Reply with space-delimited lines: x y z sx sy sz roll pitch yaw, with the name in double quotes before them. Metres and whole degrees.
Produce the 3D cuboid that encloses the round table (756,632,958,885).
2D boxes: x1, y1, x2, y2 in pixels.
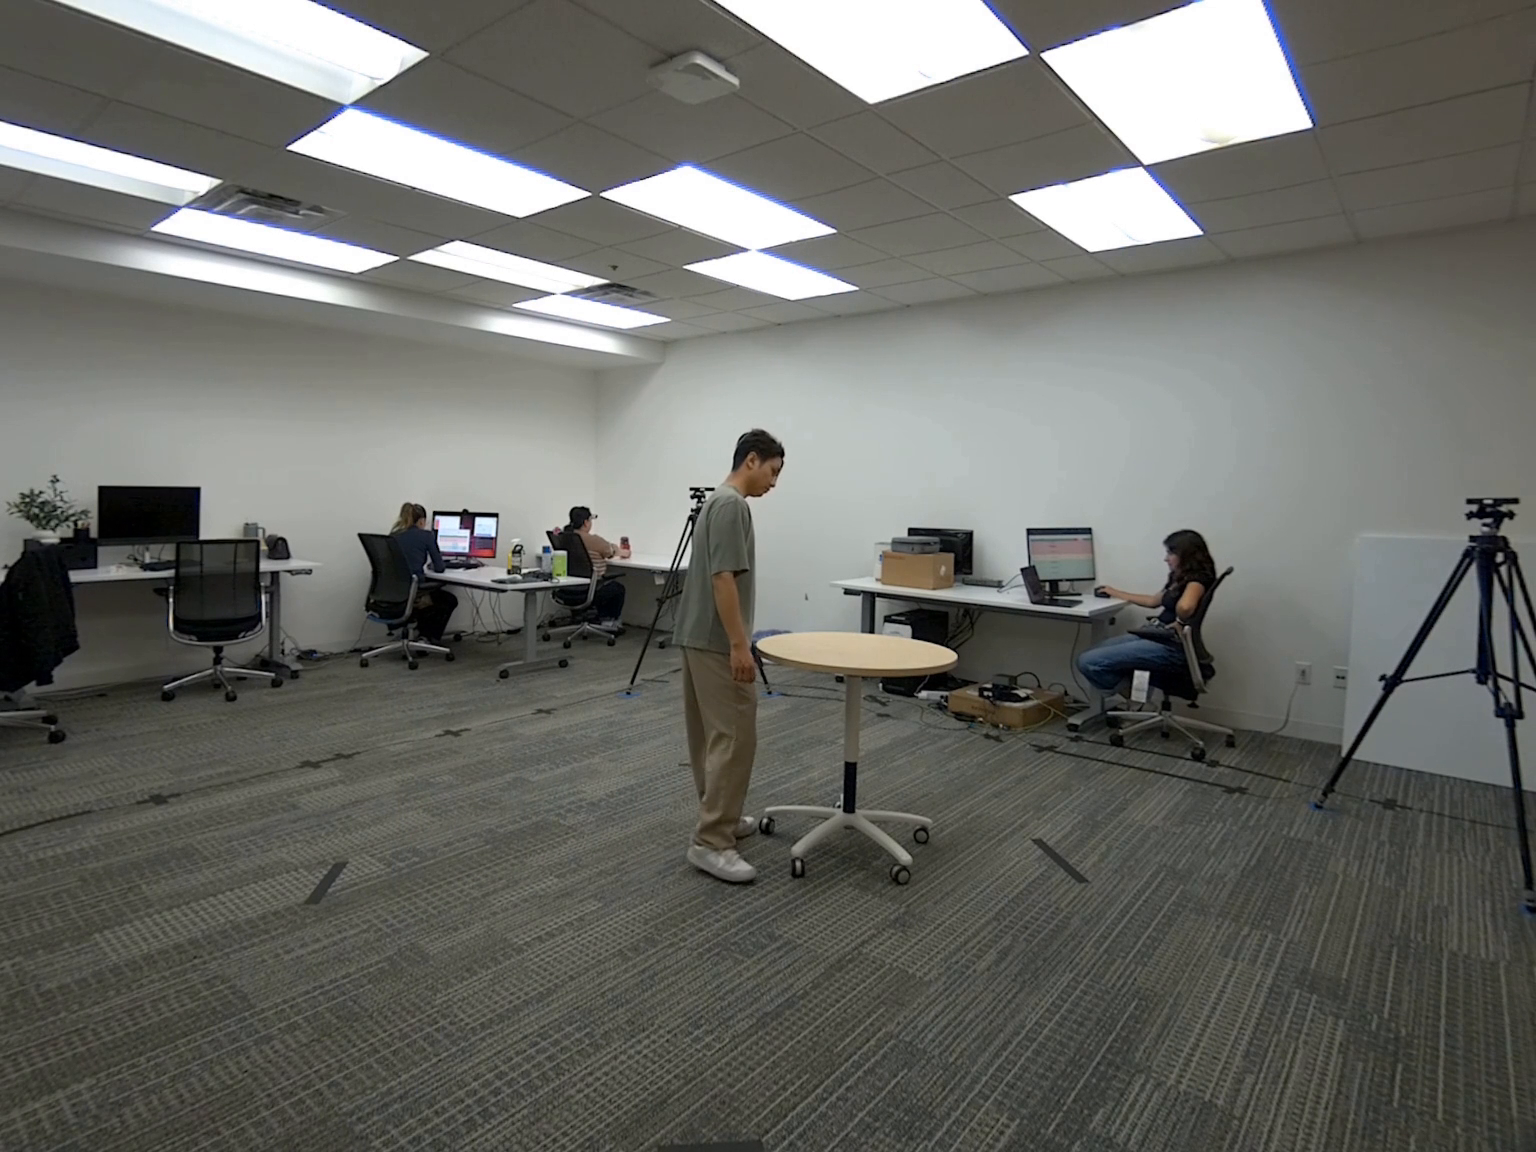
"round table" 0.318 0.667 3.317 0.784 0.784 0.789 1 4 -2
